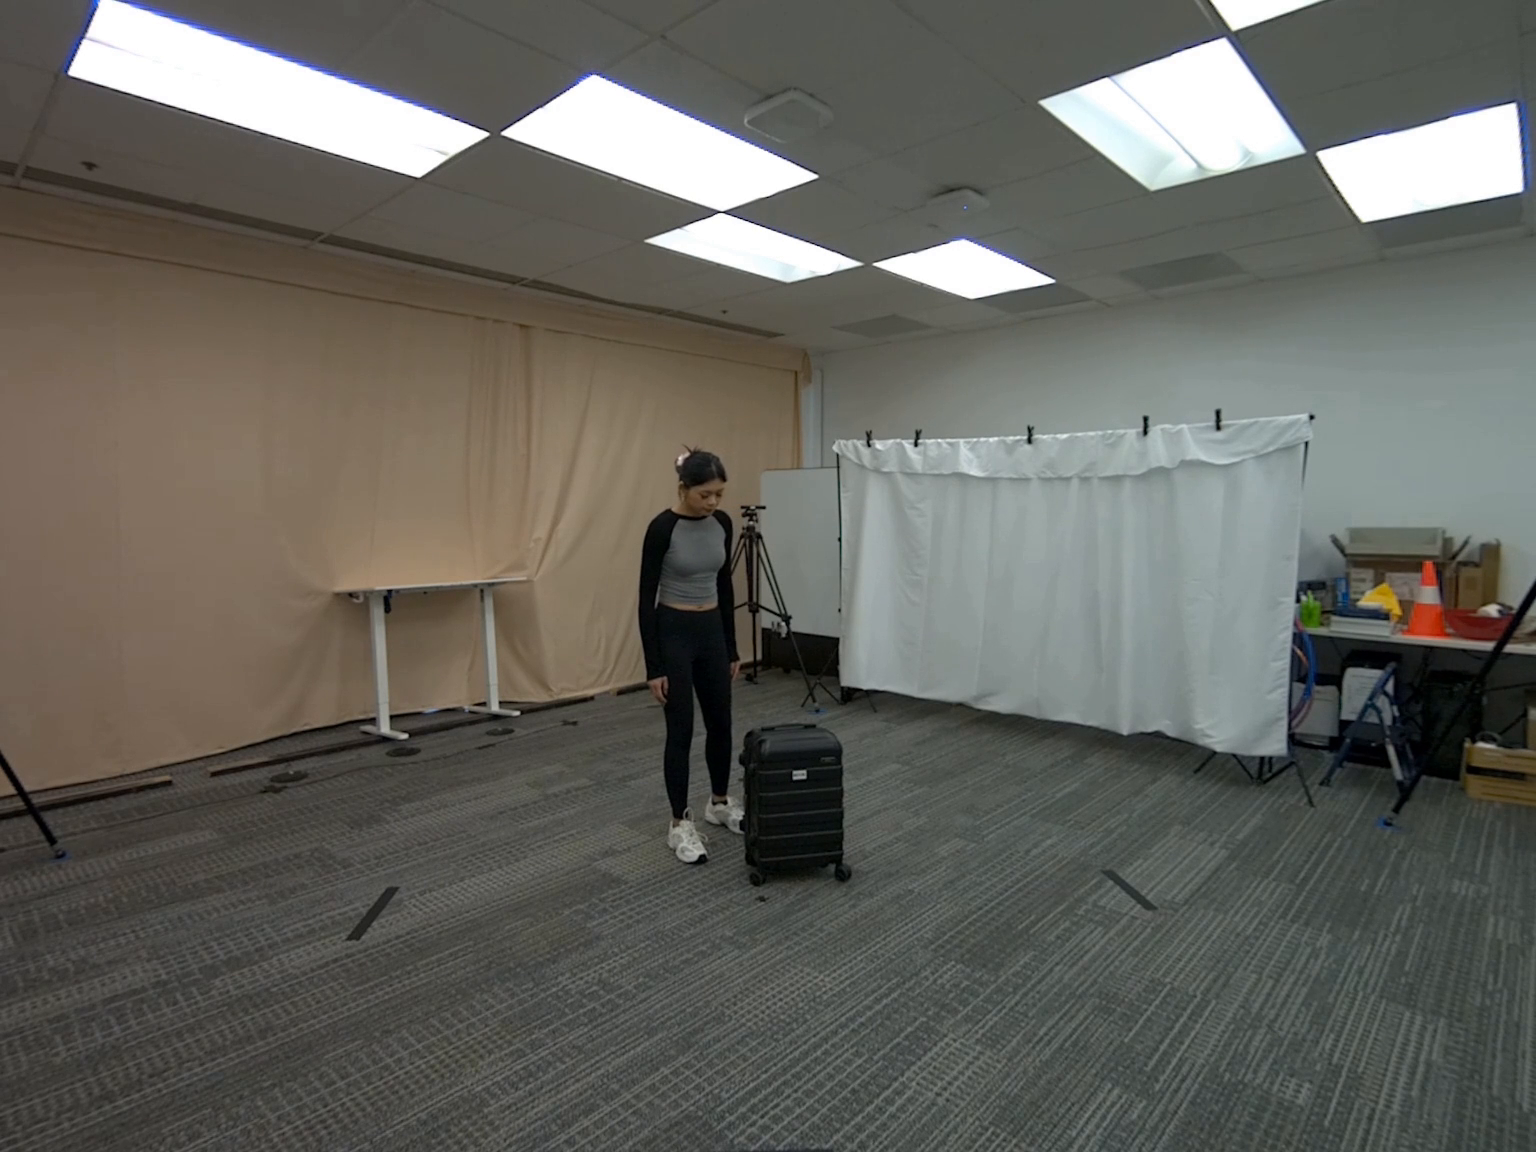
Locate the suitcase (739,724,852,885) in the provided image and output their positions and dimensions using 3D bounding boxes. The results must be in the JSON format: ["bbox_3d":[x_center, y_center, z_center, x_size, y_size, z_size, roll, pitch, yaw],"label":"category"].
[{"bbox_3d":[0.099,0.846,3.194,0.370,0.548,0.252,-1,4,-13],"label":"suitcase"}]
